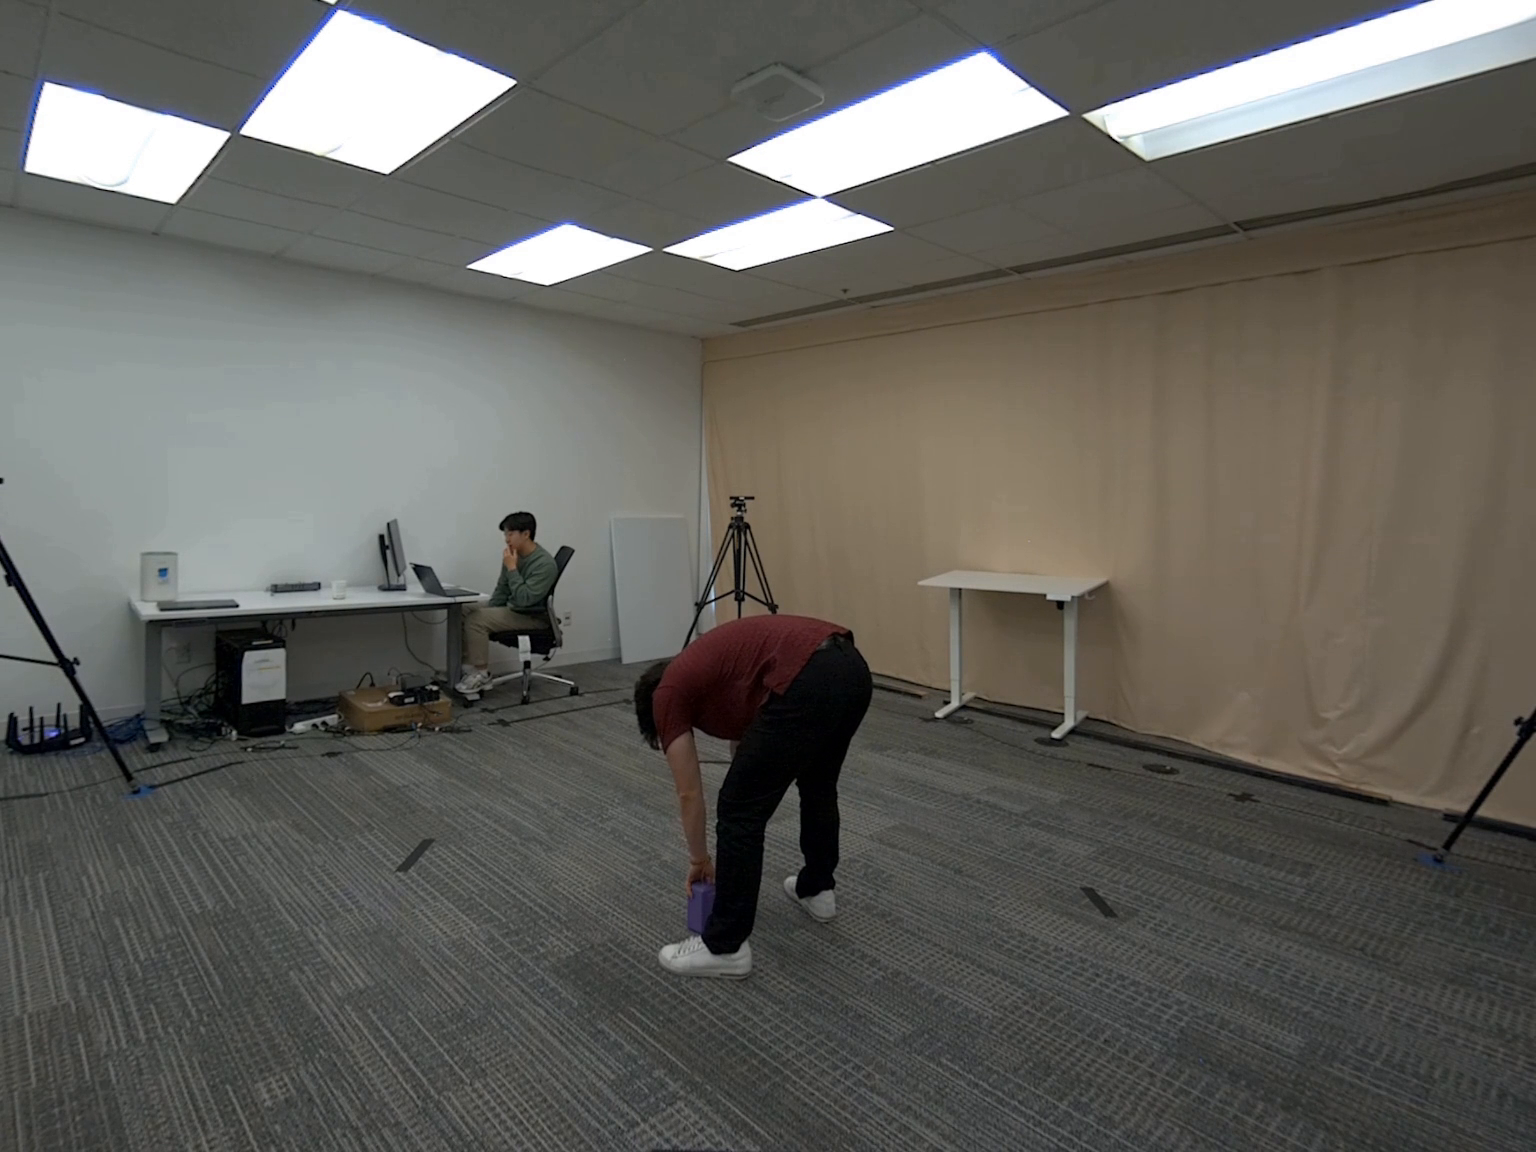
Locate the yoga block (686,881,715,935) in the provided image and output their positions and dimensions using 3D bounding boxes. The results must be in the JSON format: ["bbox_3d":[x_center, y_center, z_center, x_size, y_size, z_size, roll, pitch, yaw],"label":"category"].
[{"bbox_3d":[-0.165,1.063,2.766,0.078,0.148,0.224,7,8,34],"label":"yoga block"}]
